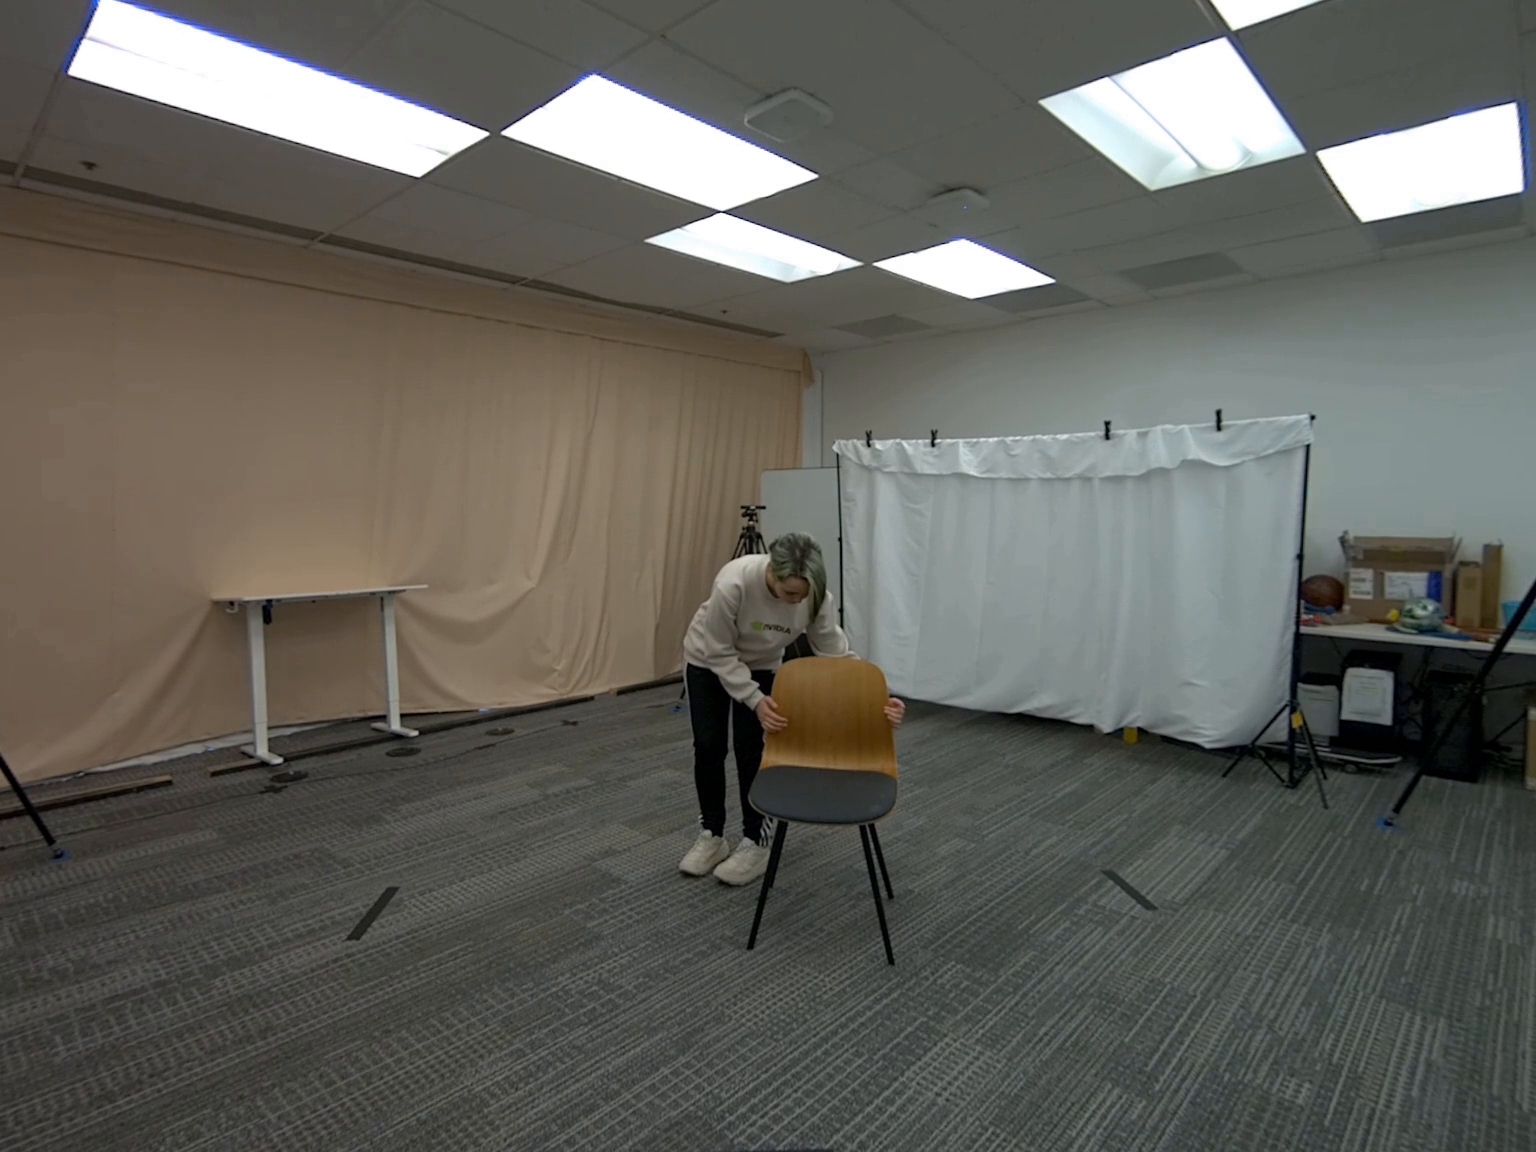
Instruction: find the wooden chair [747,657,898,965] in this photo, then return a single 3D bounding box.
[{"bbox_3d":[0.197,0.731,2.773,0.484,0.877,0.516,1,0,11],"label":"wooden chair"}]
